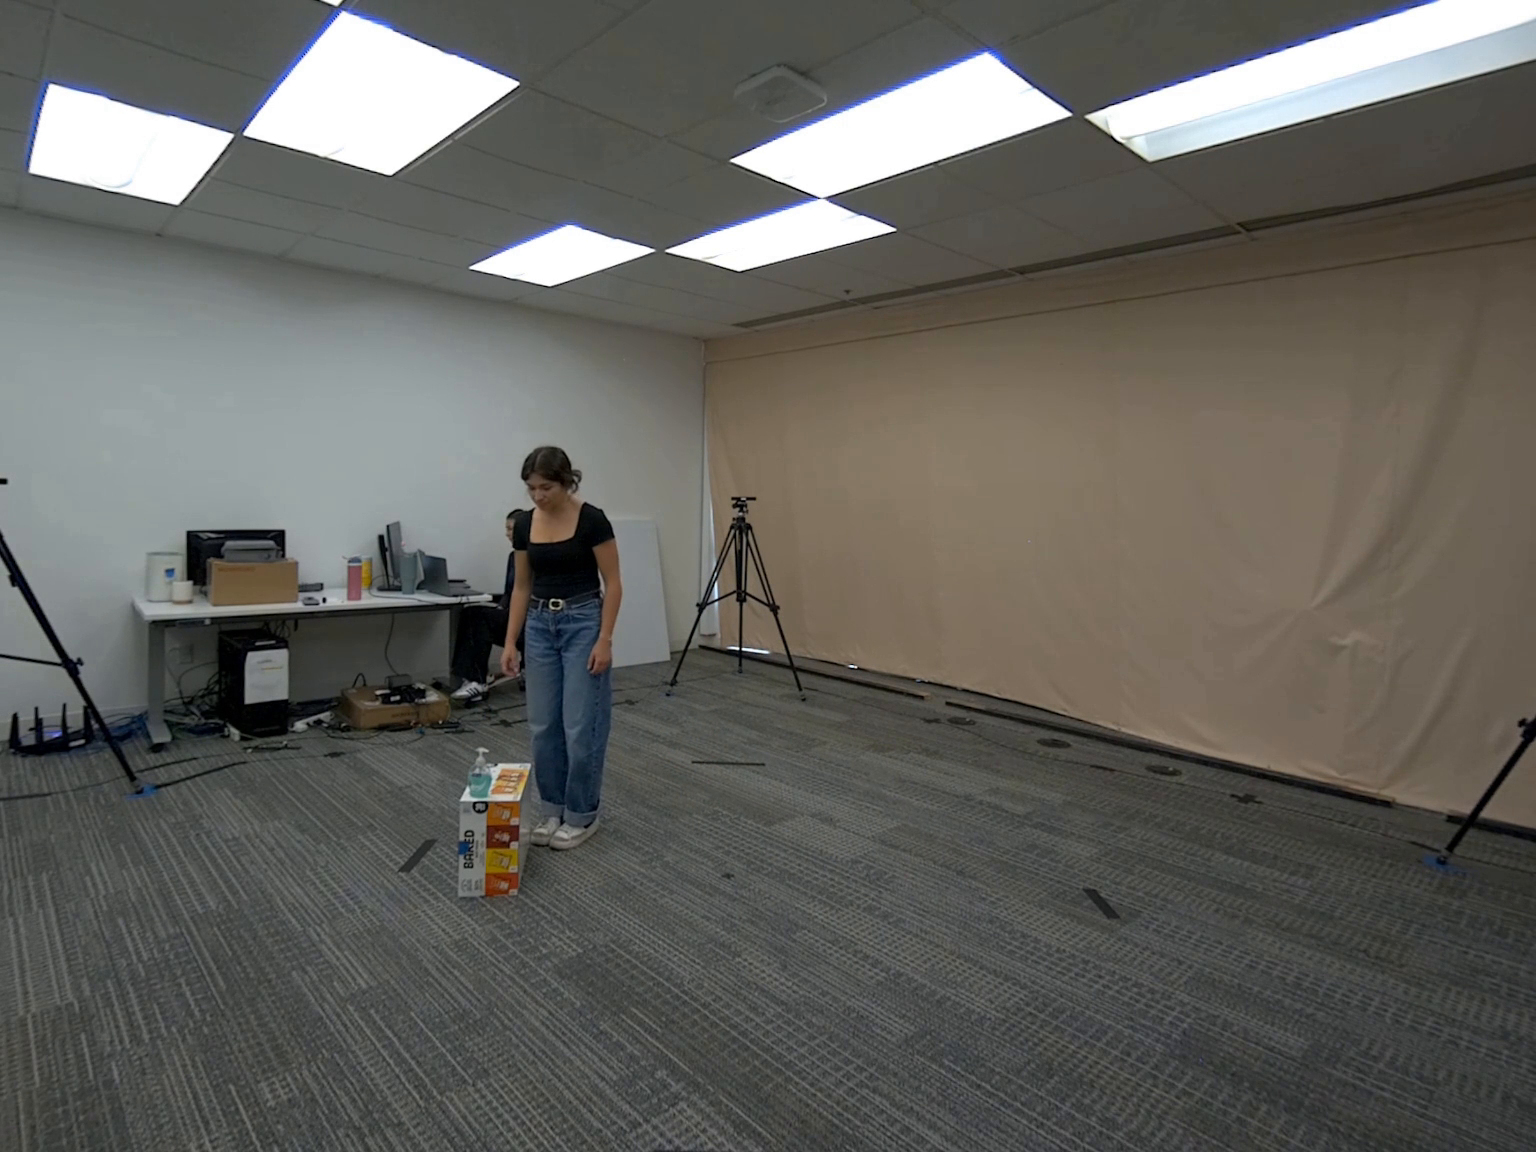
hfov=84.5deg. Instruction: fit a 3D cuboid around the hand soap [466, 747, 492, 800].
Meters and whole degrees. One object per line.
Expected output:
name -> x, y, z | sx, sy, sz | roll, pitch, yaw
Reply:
hand soap -> -1.015, 0.684, 2.917 | 0.085, 0.167, 0.043 | 4, 6, 3
